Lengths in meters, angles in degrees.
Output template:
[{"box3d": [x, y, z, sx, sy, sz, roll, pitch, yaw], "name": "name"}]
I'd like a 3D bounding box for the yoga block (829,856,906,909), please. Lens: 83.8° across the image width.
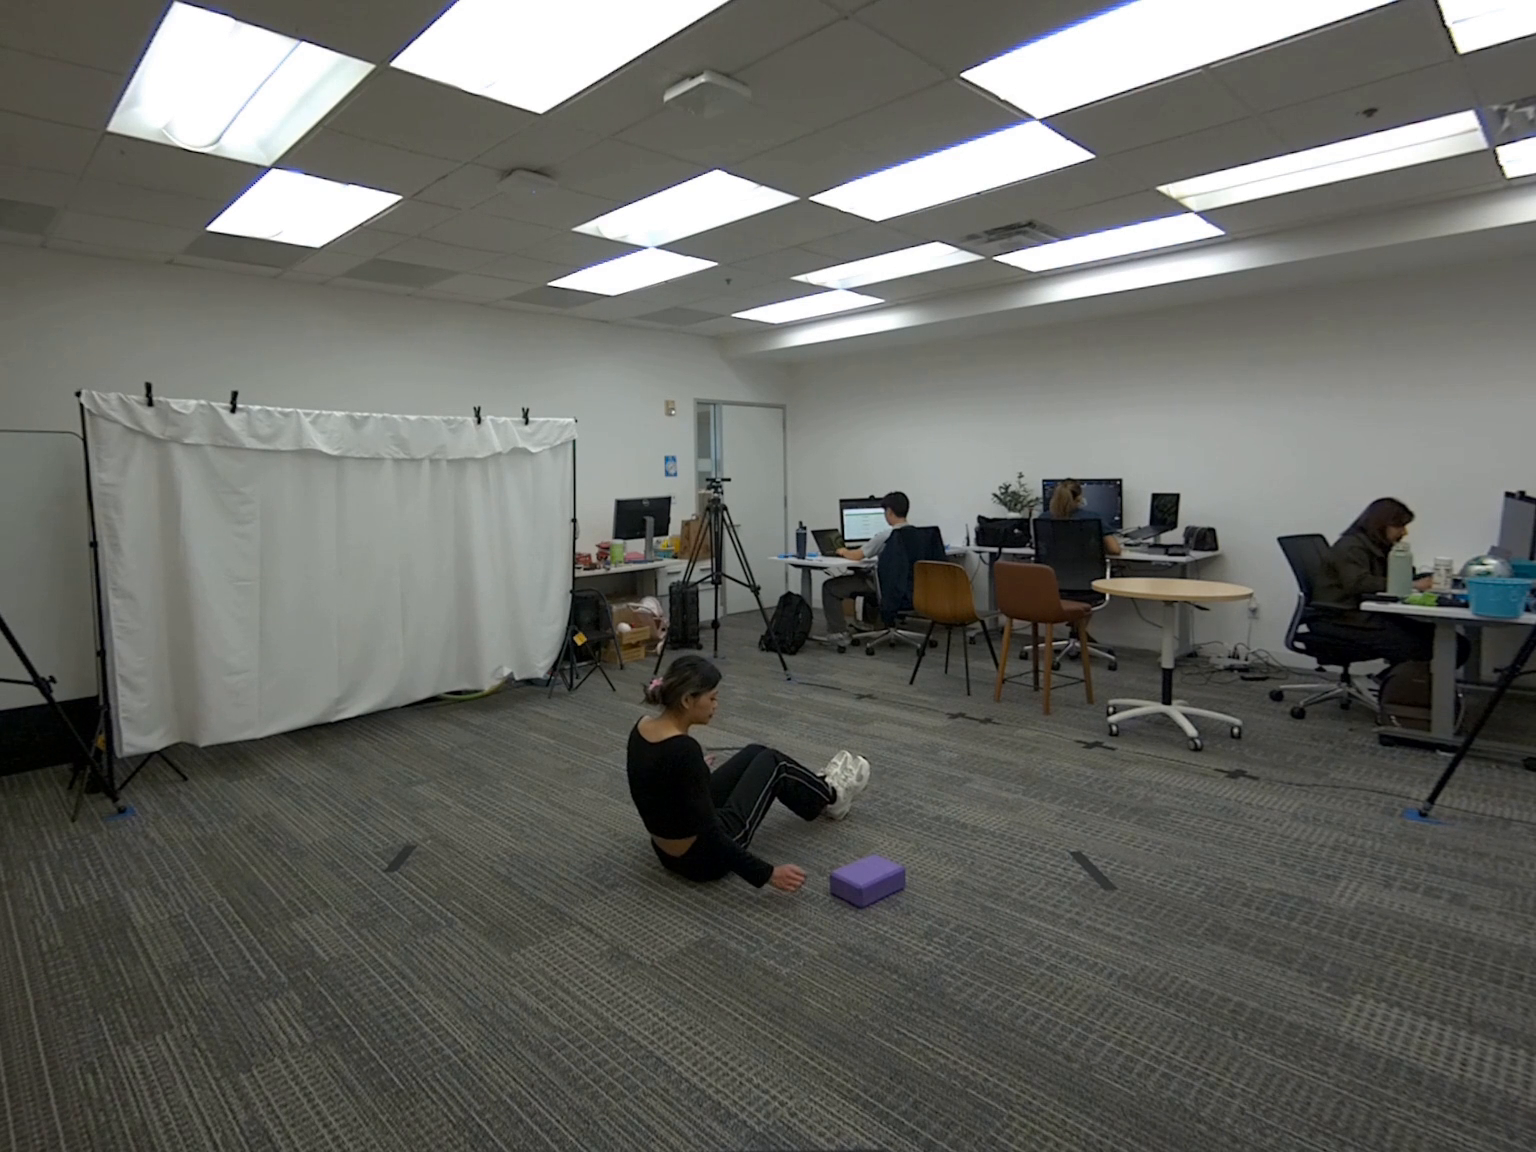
[{"box3d": [0.334, 1.015, 2.874, 0.223, 0.076, 0.153, -4, 7, -39], "name": "yoga block"}]
